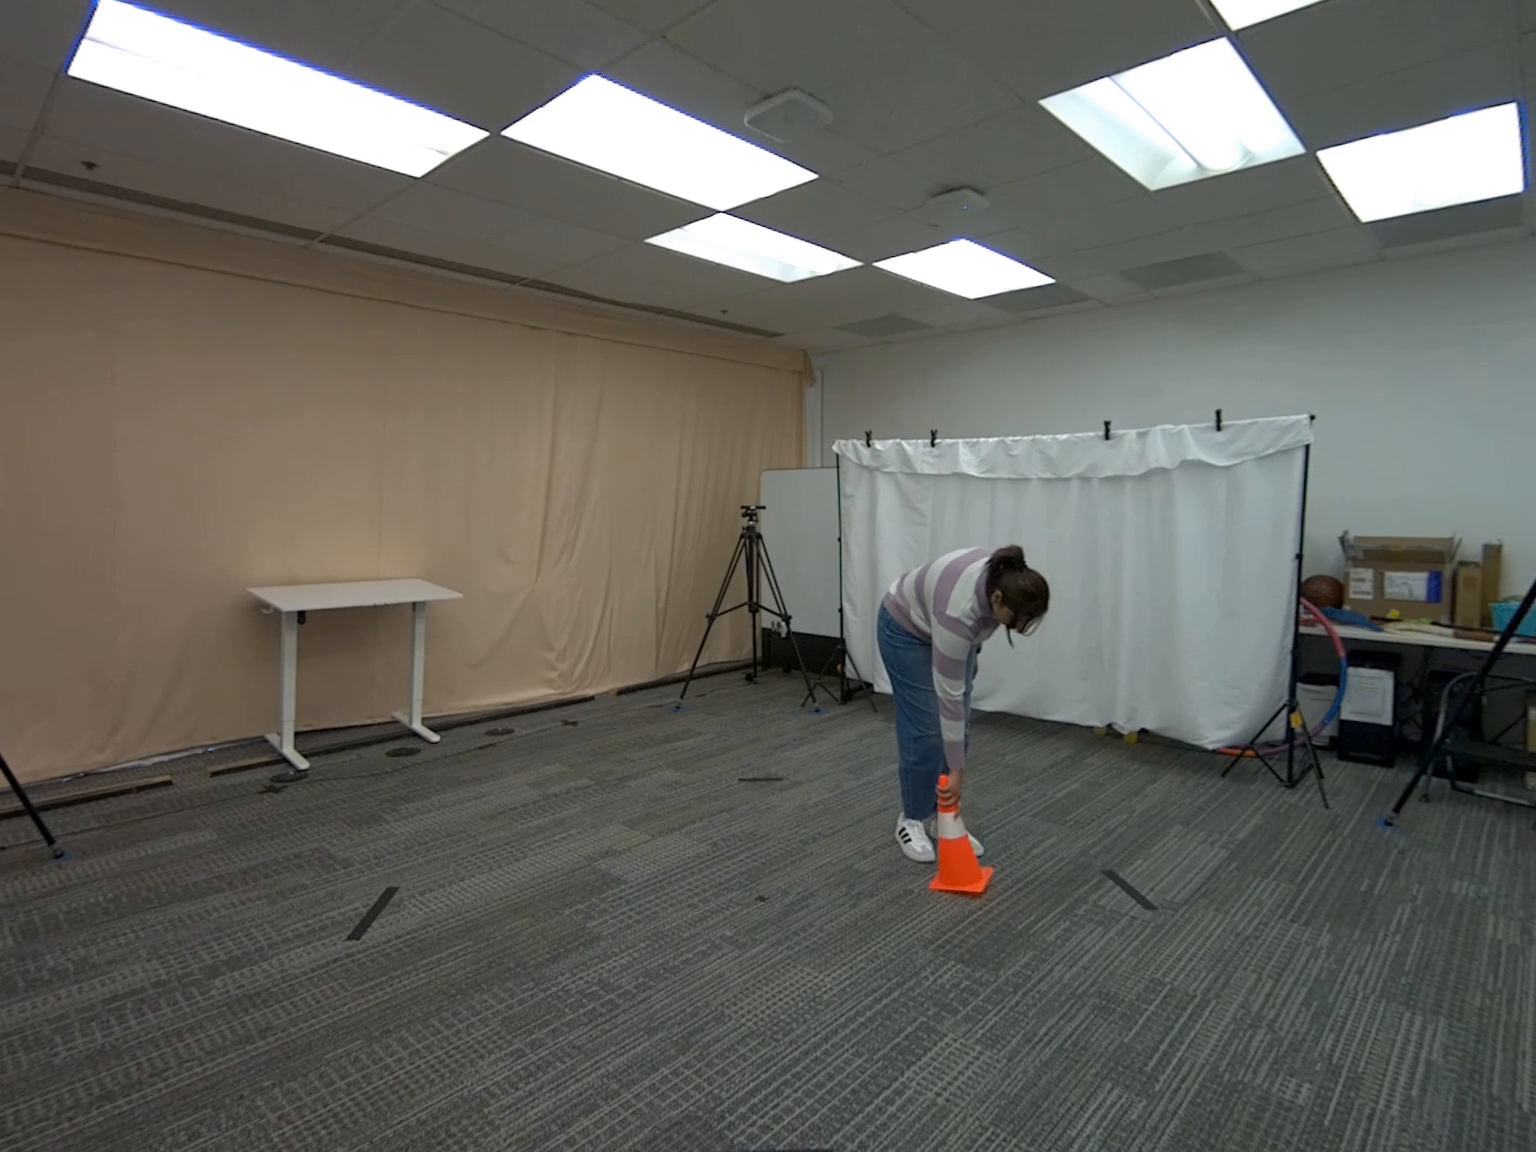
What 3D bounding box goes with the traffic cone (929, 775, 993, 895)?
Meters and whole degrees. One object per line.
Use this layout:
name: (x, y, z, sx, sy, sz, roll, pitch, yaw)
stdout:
traffic cone: (0.677, 0.919, 3.103, 0.210, 0.384, 0.198, -10, -3, 30)
